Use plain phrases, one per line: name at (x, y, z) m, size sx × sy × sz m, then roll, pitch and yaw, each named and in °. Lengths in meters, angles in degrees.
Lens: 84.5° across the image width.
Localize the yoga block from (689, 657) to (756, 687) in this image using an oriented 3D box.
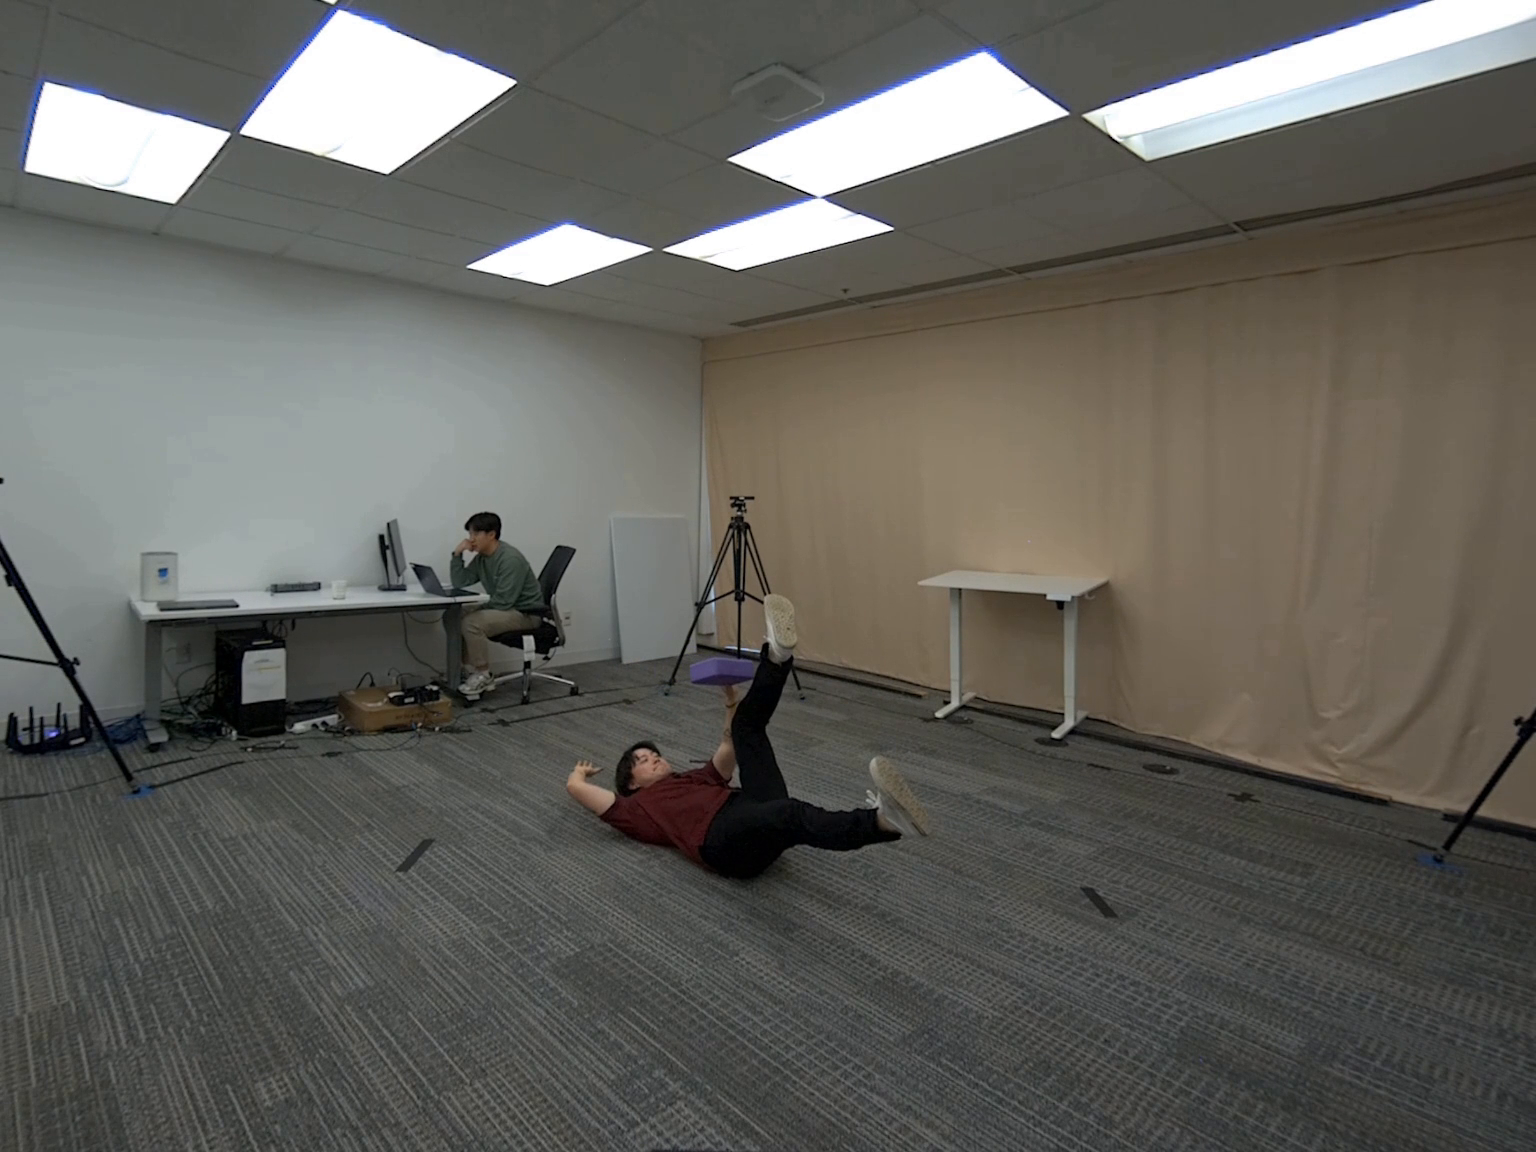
yoga block at (-0.189, 0.378, 3.336) m, size 0.151 × 0.077 × 0.223 m, roll -14°, pitch -18°, yaw 30°
